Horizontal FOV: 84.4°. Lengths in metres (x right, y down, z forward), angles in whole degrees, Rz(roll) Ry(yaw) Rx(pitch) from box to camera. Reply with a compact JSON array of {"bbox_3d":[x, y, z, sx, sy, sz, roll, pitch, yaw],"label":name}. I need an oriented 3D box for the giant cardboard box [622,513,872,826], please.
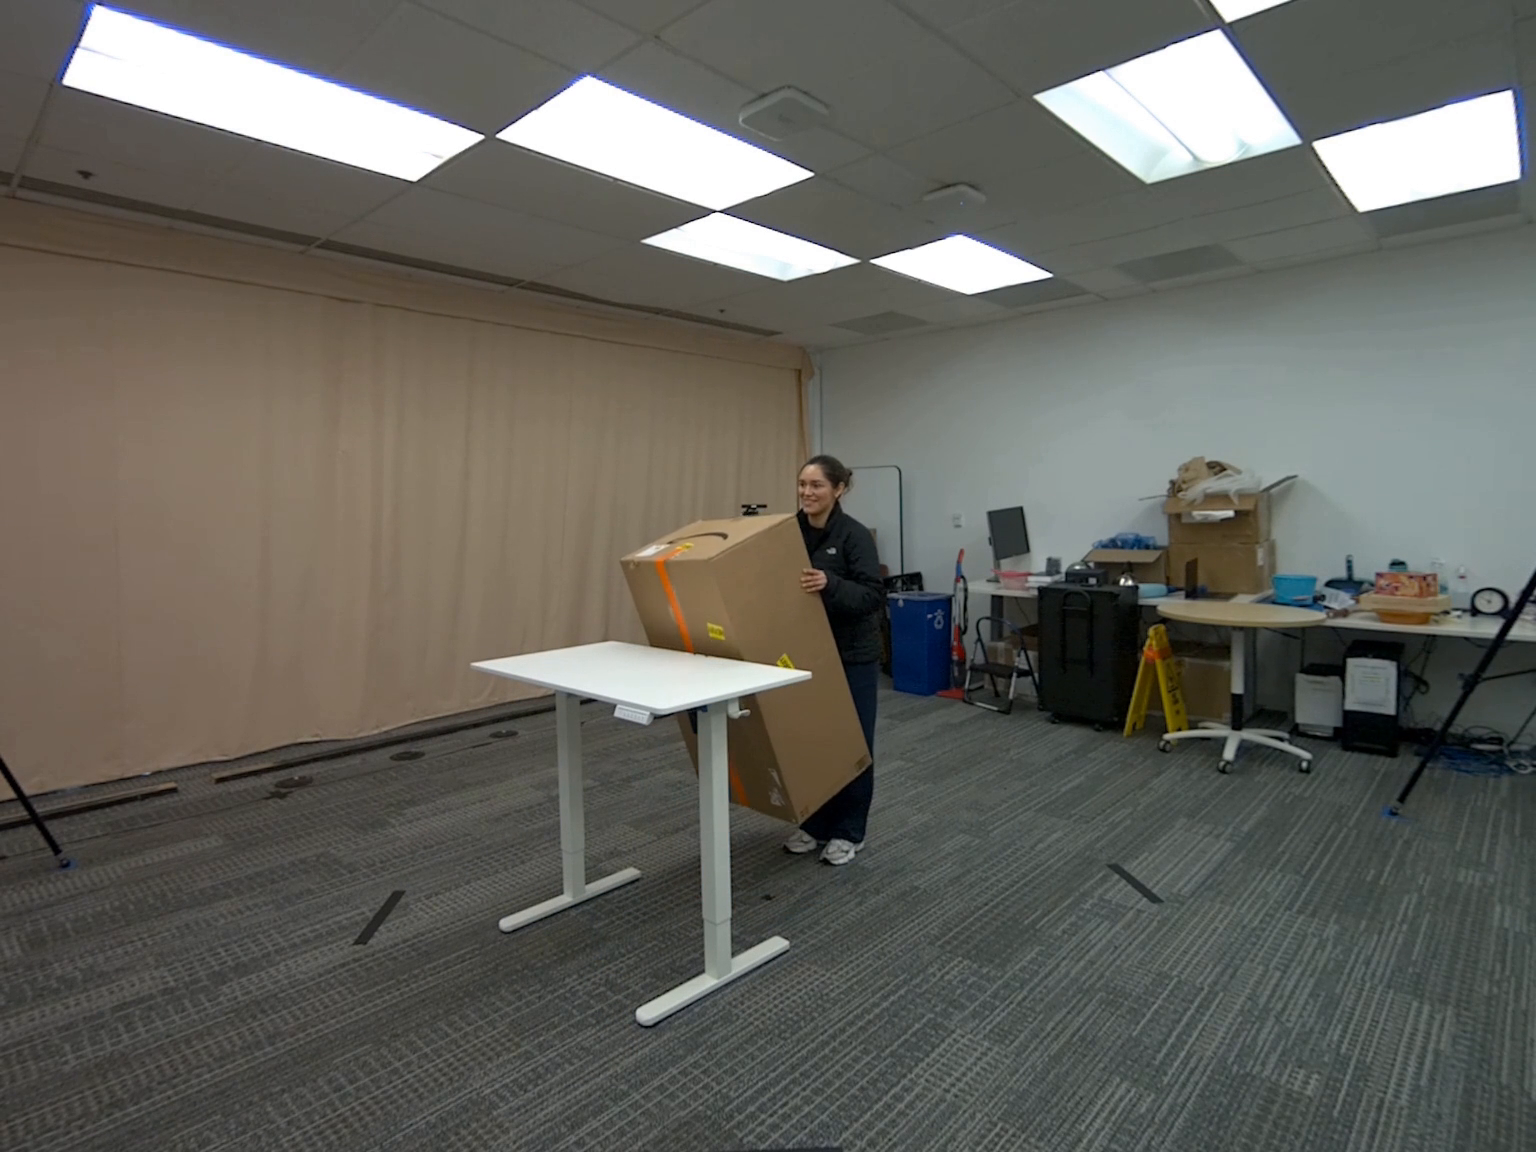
[{"bbox_3d":[-0.081,0.331,3.192,0.438,1.015,0.602,-27,16,-35],"label":"giant cardboard box"}]
